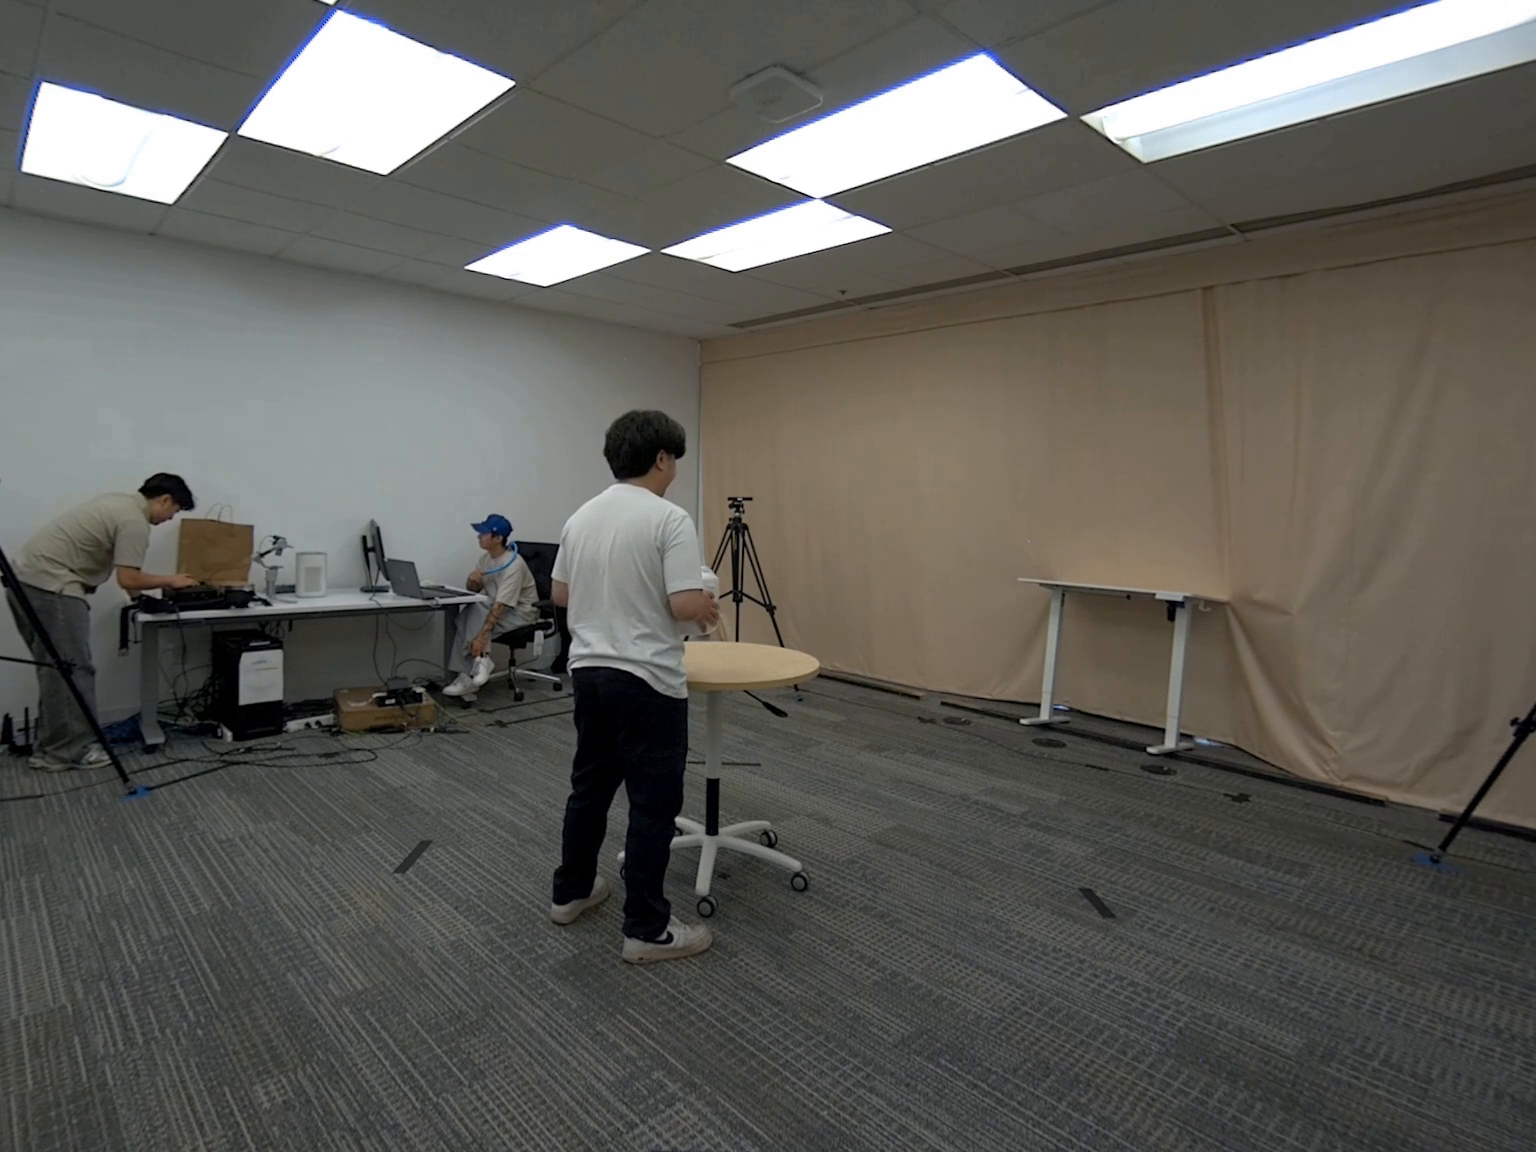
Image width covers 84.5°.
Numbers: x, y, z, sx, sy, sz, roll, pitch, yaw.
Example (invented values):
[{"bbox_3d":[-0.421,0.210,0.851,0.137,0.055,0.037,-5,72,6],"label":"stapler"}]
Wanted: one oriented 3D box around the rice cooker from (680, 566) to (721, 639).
[{"bbox_3d":[-0.283,0.079,2.835,0.220,0.232,0.218,1,3,-3],"label":"rice cooker"}]
